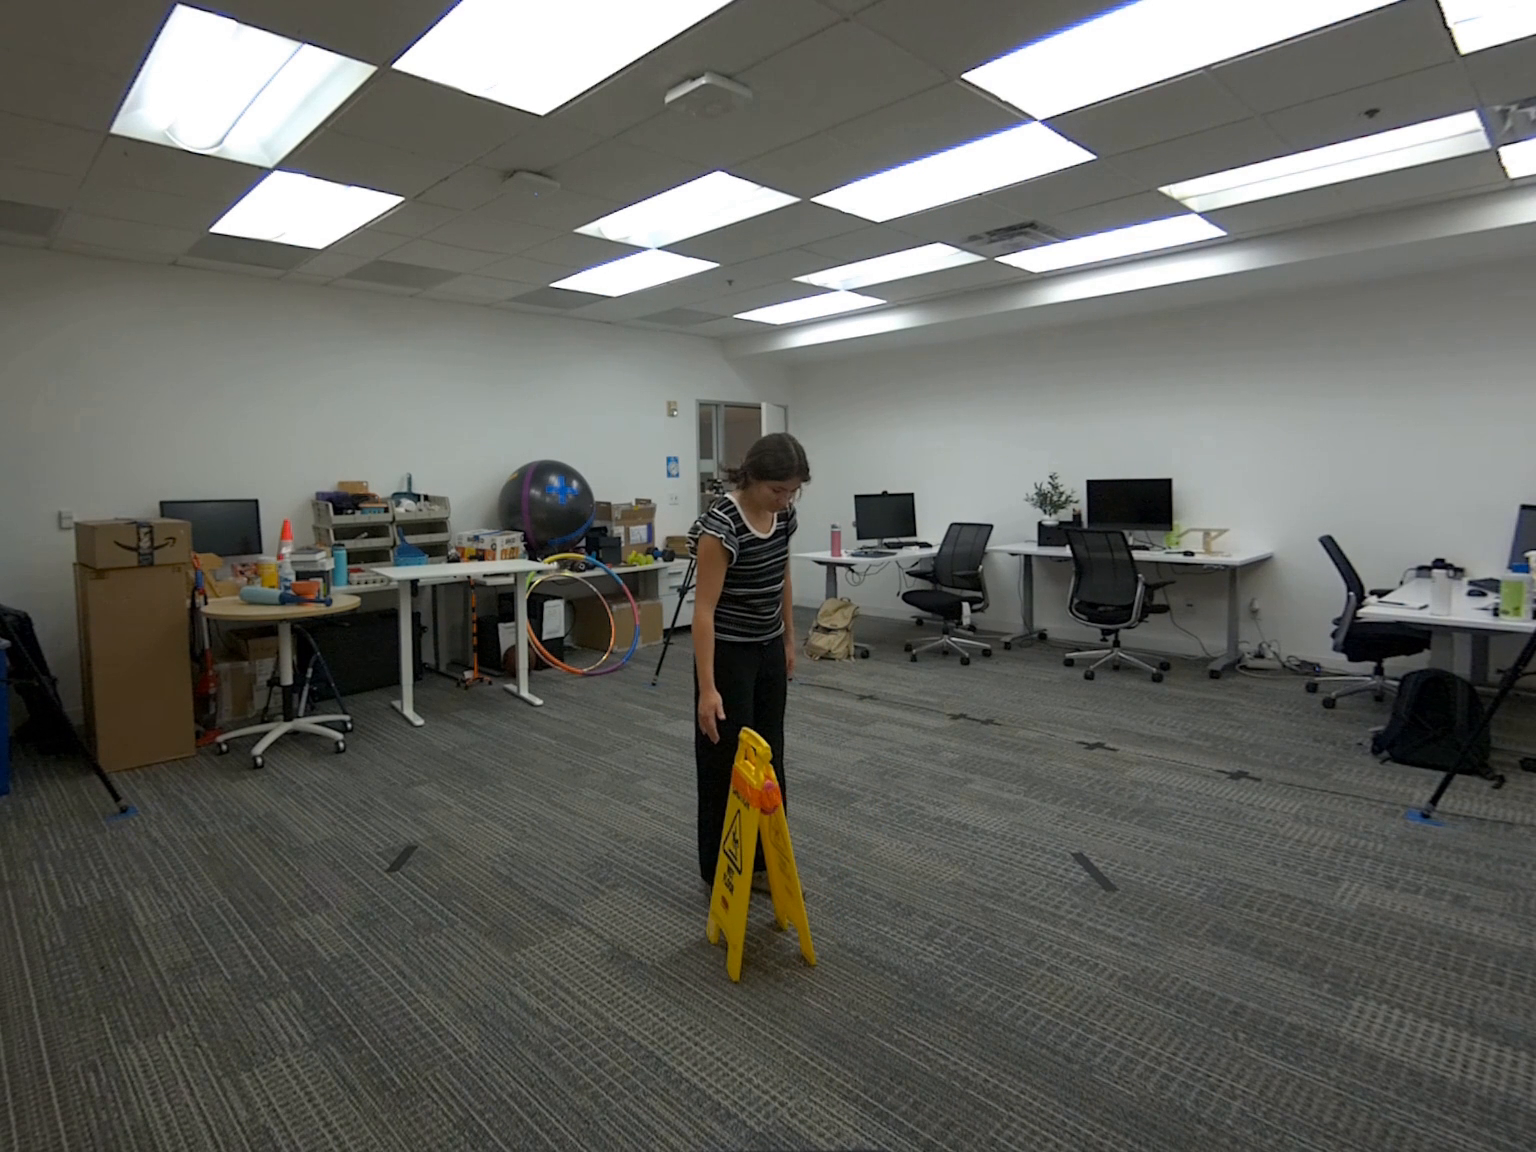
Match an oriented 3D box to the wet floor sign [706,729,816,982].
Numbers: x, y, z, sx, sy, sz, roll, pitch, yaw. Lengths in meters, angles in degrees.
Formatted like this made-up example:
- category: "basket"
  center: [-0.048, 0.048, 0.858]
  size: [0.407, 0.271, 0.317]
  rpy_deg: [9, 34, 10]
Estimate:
- category: "wet floor sign"
  center: [-0.033, 0.792, 2.514]
  size: [0.285, 0.643, 0.288]
  rpy_deg: [-3, 5, -18]
